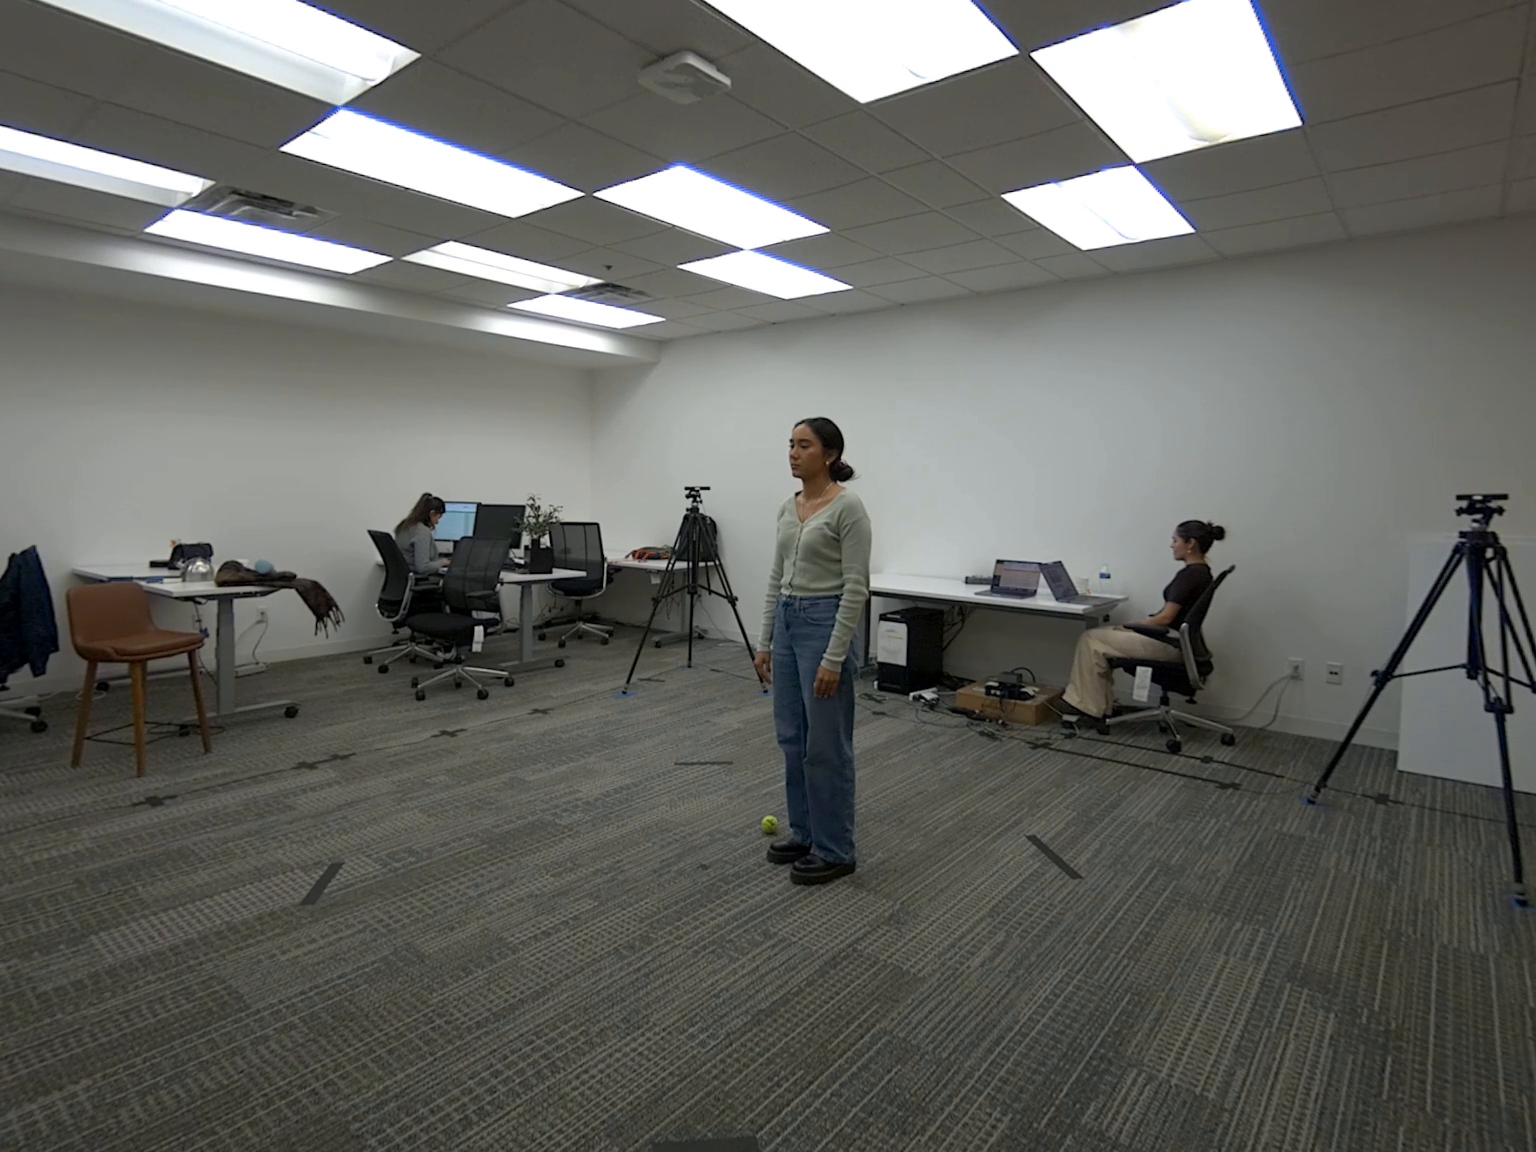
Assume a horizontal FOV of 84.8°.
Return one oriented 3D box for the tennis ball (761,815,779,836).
[{"bbox_3d":[-0.003,0.987,3.451,0.066,0.066,0.067,1,4,-2],"label":"tennis ball"}]
